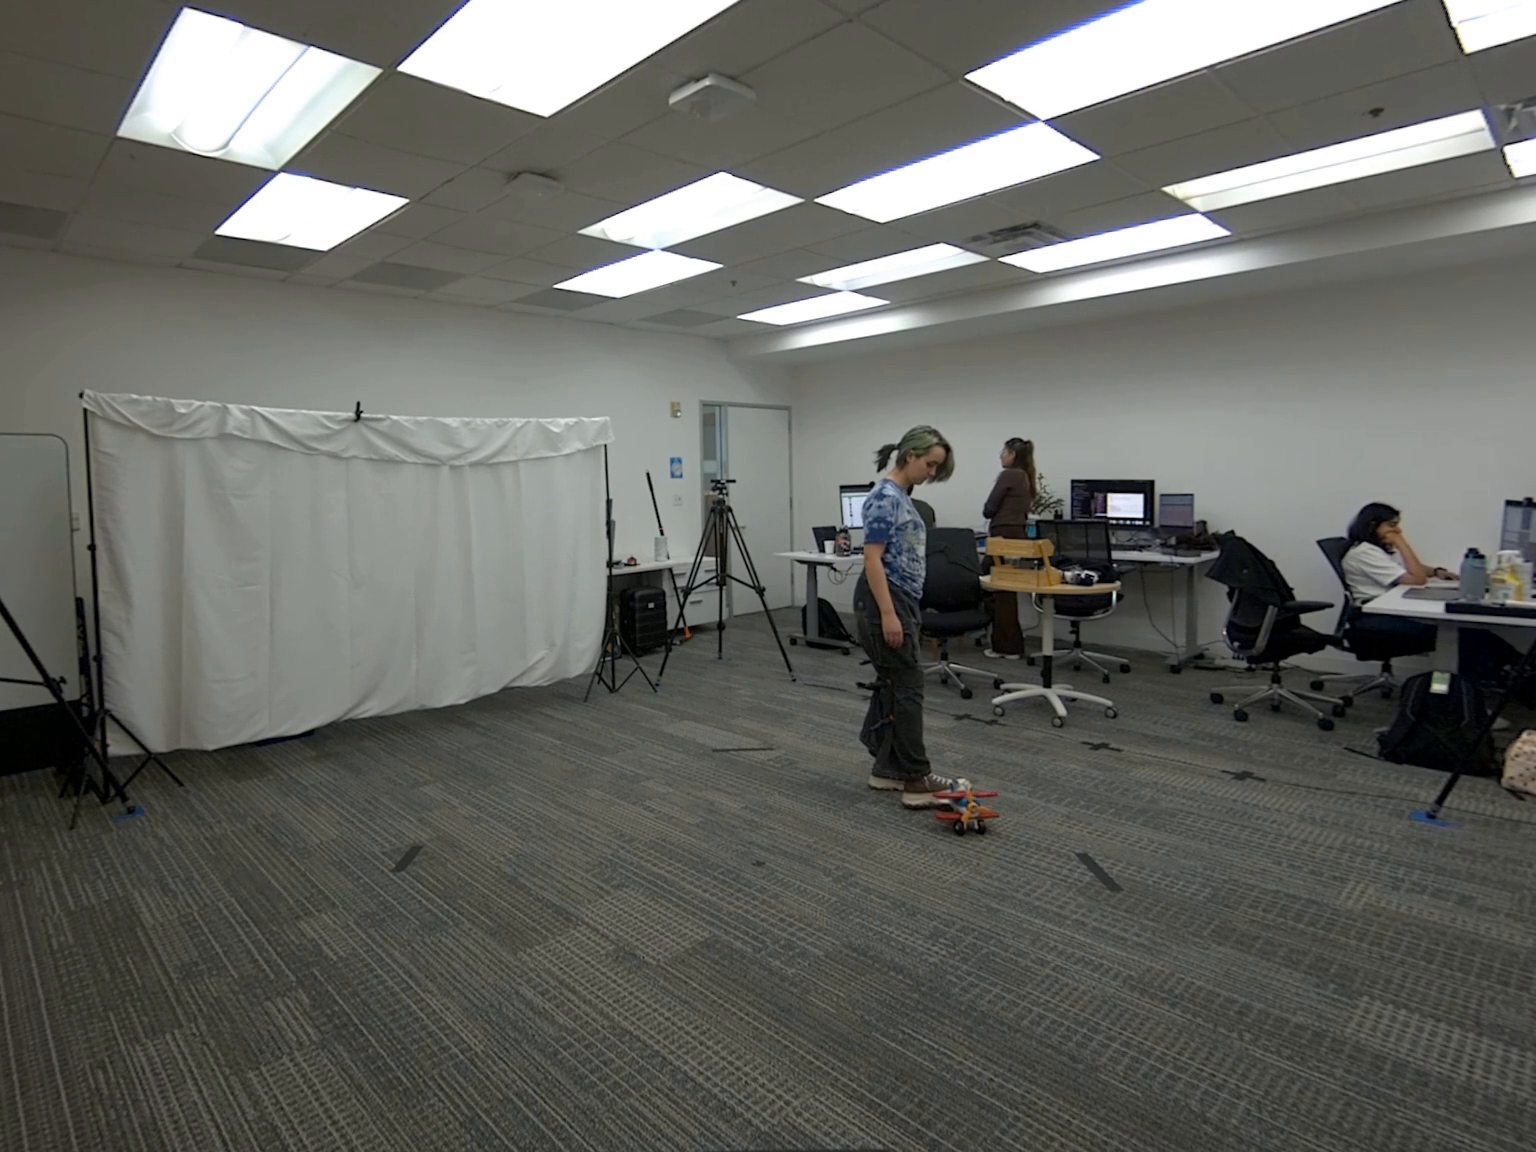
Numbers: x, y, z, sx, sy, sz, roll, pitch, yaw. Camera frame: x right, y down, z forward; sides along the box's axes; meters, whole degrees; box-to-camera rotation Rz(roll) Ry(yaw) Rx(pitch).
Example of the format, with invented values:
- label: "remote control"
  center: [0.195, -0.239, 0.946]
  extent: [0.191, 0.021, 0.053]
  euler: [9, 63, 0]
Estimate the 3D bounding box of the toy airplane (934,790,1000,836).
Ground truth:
- label: "toy airplane"
  center: [0.759, 0.925, 3.418]
  extent: [0.245, 0.155, 0.267]
  euler: [-4, 8, -34]
